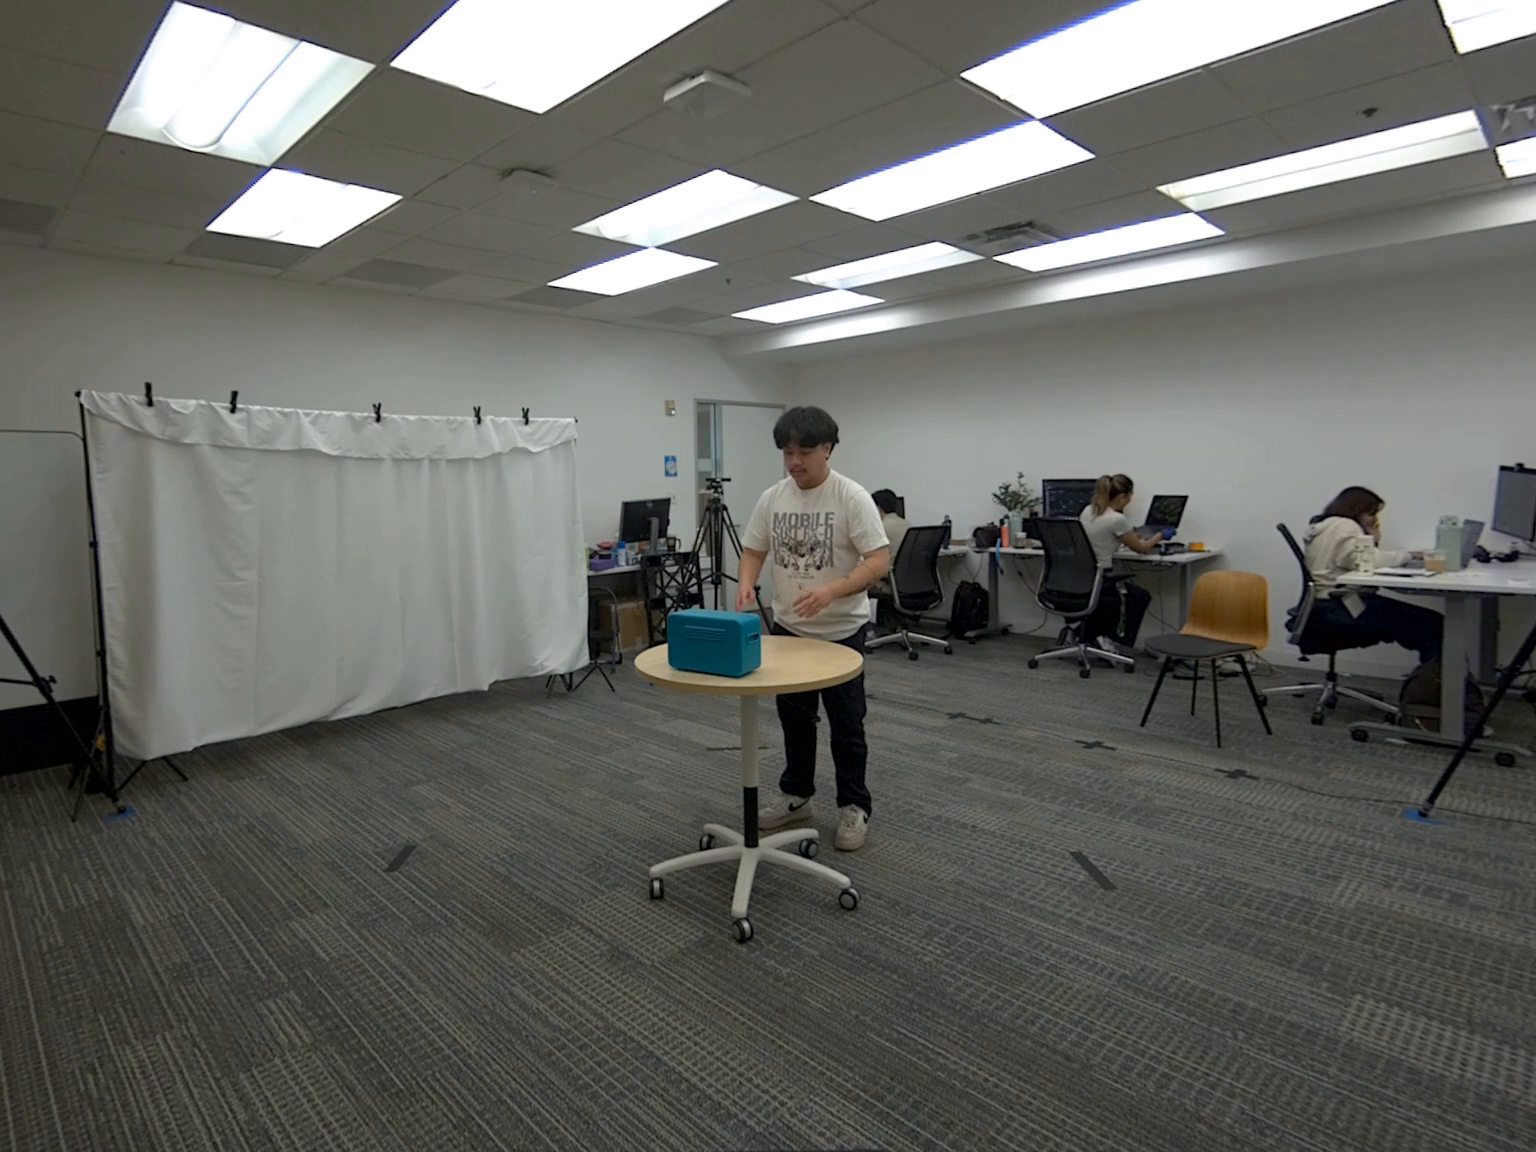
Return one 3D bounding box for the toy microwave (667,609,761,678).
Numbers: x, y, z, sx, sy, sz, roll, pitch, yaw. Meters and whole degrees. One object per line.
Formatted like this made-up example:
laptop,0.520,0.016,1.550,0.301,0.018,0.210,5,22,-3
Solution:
toy microwave,-0.162,0.208,2.705,0.294,0.183,0.149,3,6,32
